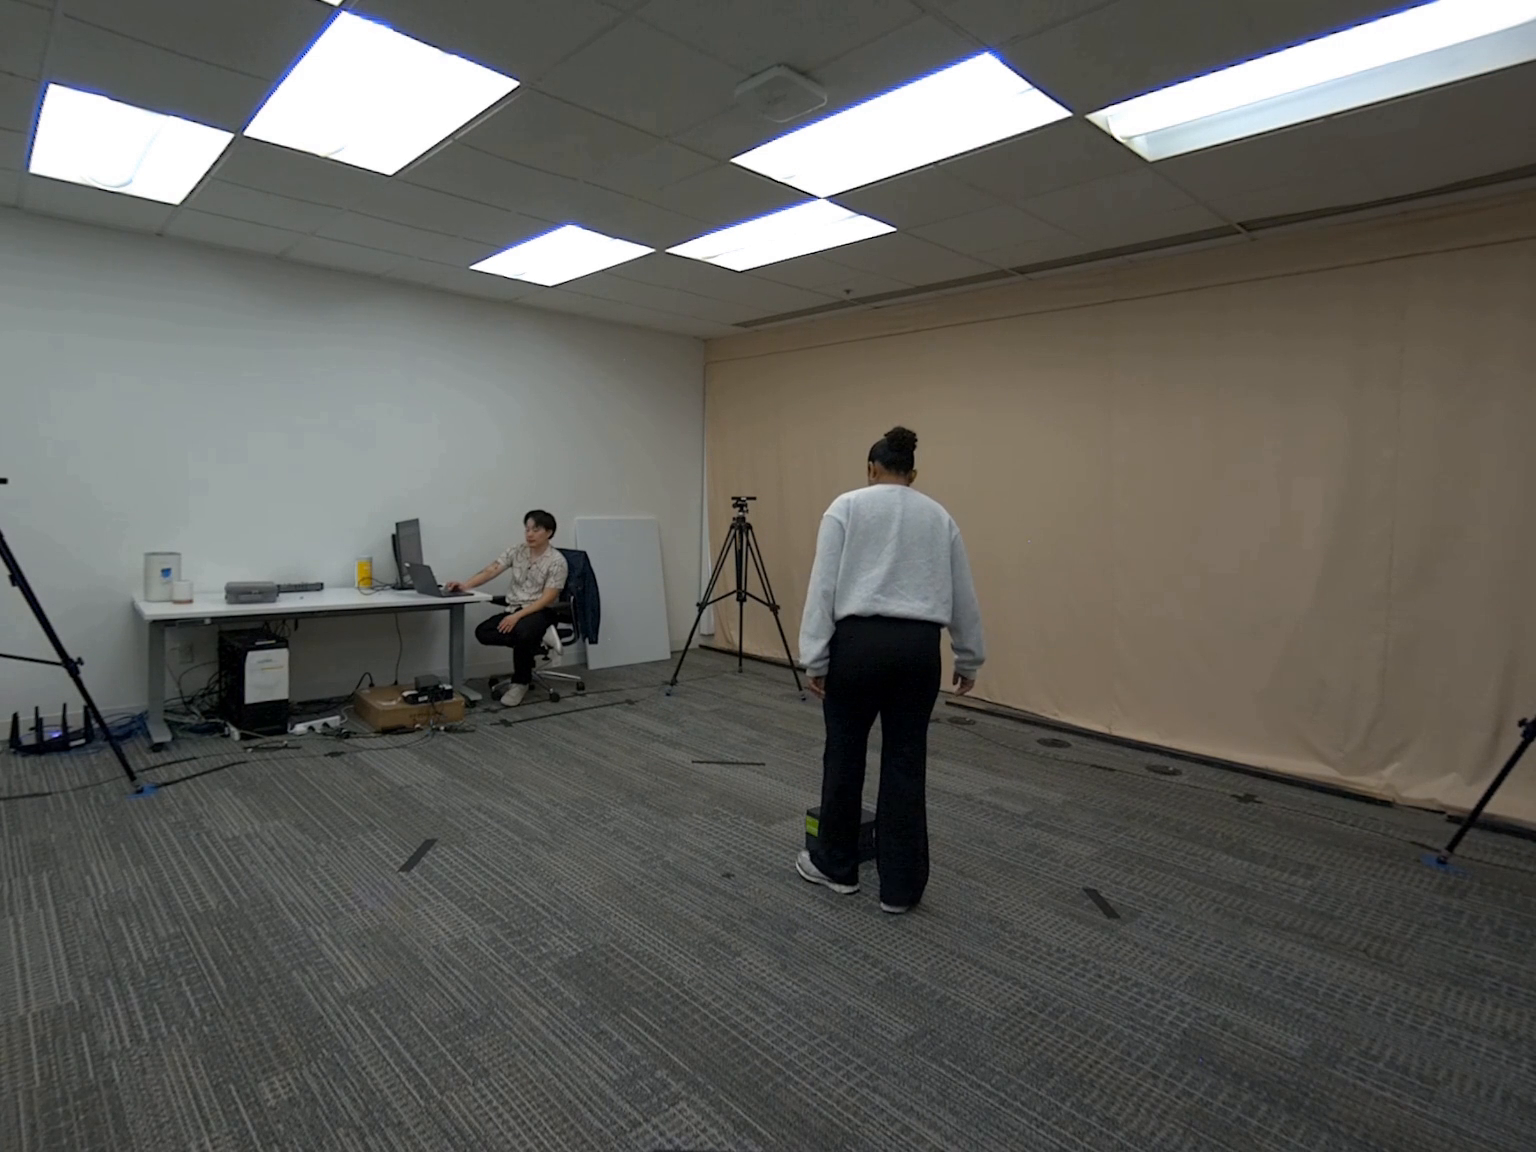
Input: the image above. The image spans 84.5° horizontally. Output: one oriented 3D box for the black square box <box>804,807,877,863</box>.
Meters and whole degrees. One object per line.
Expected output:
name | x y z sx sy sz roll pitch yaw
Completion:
black square box | 0.297 1.012 3.333 0.212 0.155 0.233 -2 5 -37
